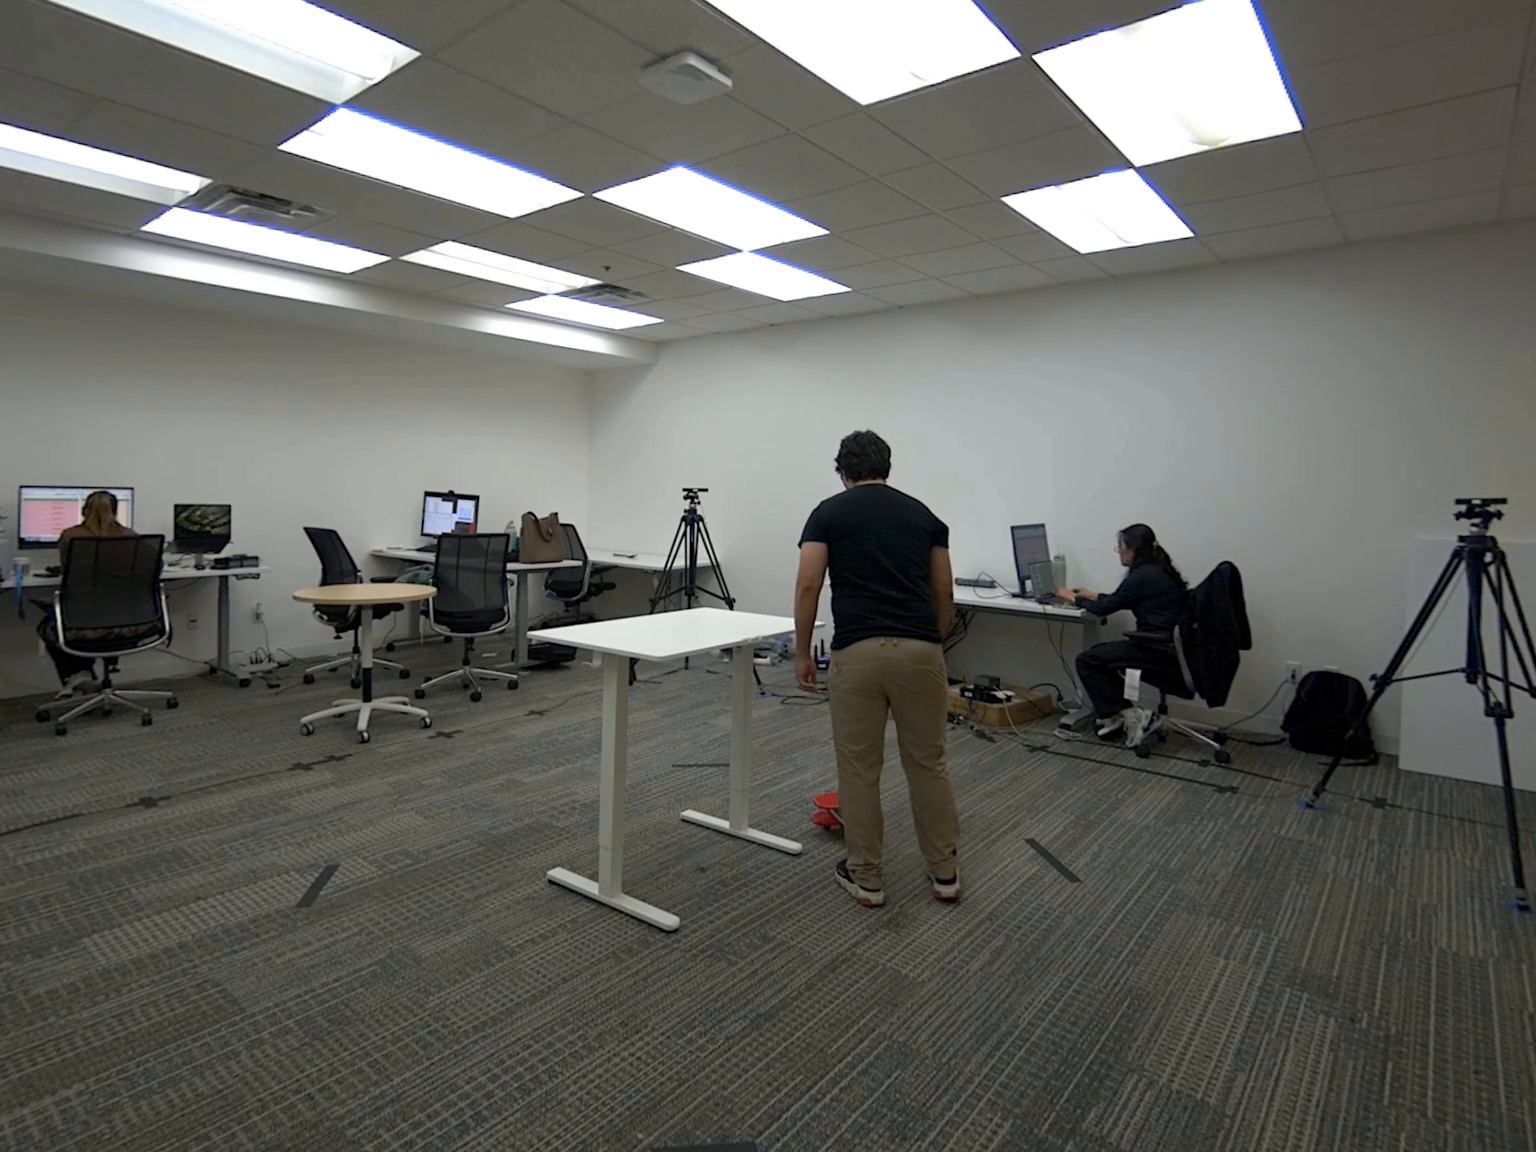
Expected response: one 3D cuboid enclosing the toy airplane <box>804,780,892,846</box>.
[{"bbox_3d":[0.326,0.970,3.445,0.268,0.156,0.243,3,4,40],"label":"toy airplane"}]
